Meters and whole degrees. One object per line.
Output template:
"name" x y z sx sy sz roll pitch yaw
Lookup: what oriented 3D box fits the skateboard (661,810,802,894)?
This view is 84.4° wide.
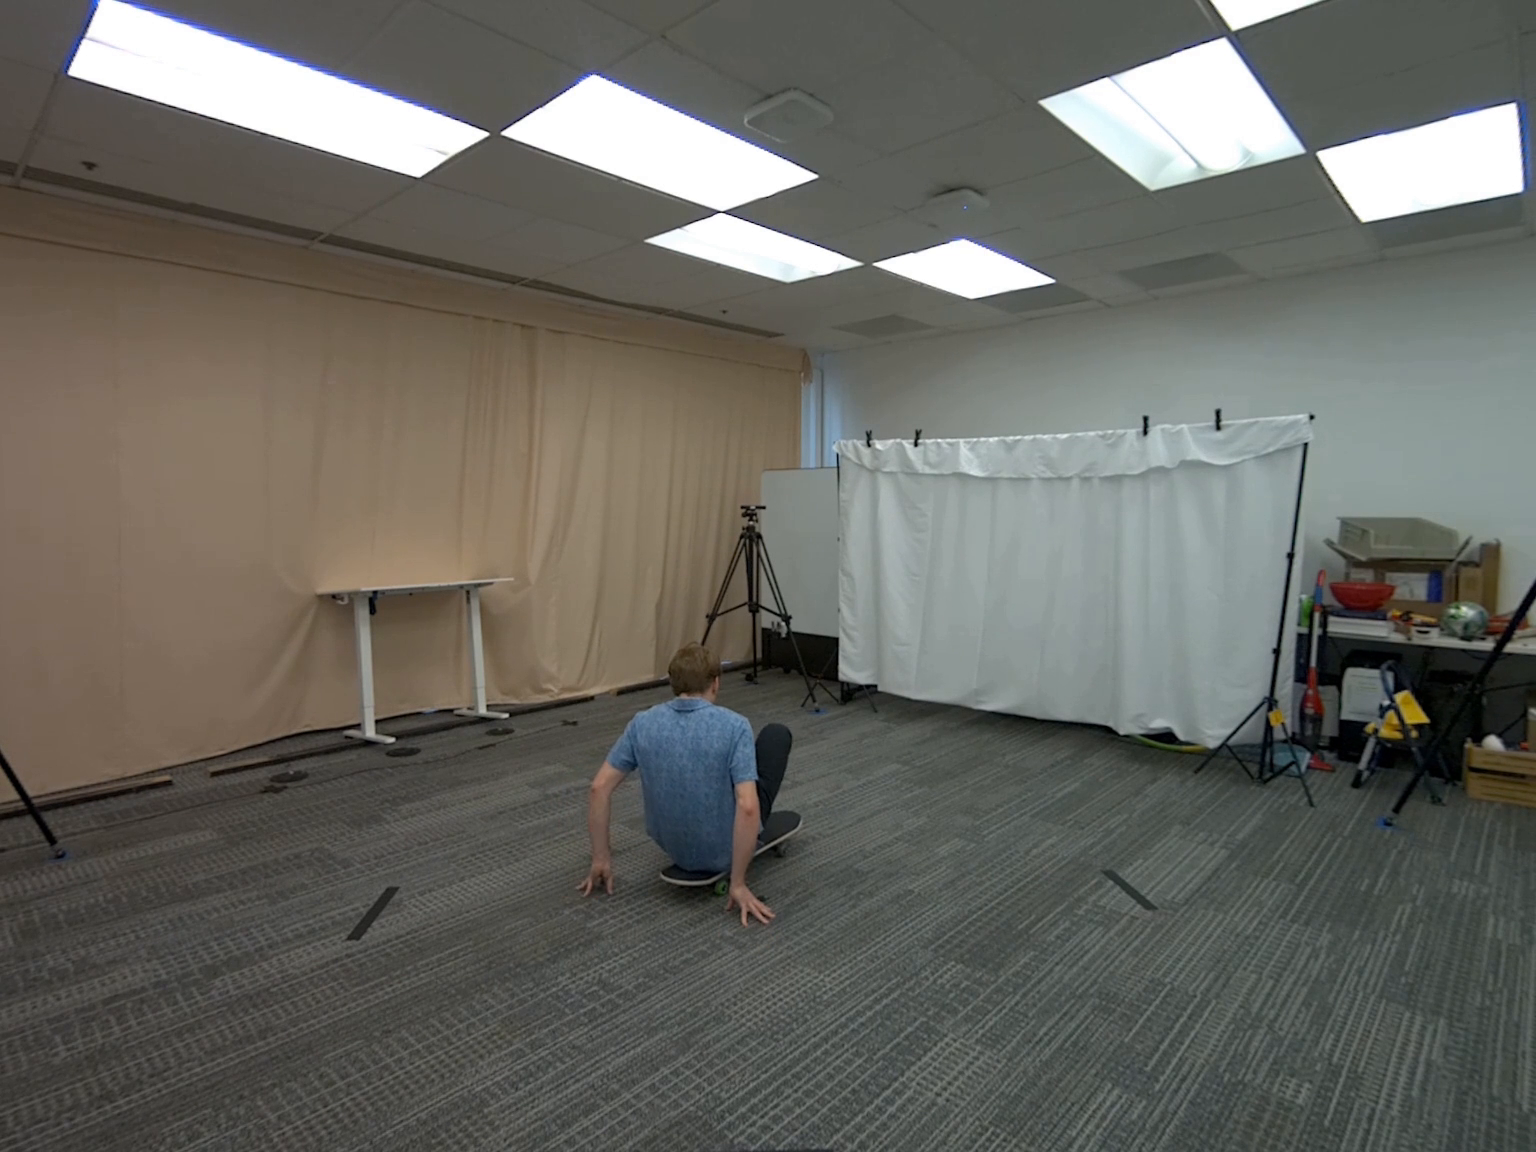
"skateboard" -0.132 1.076 3.239 0.199 0.110 0.764 1 6 33
